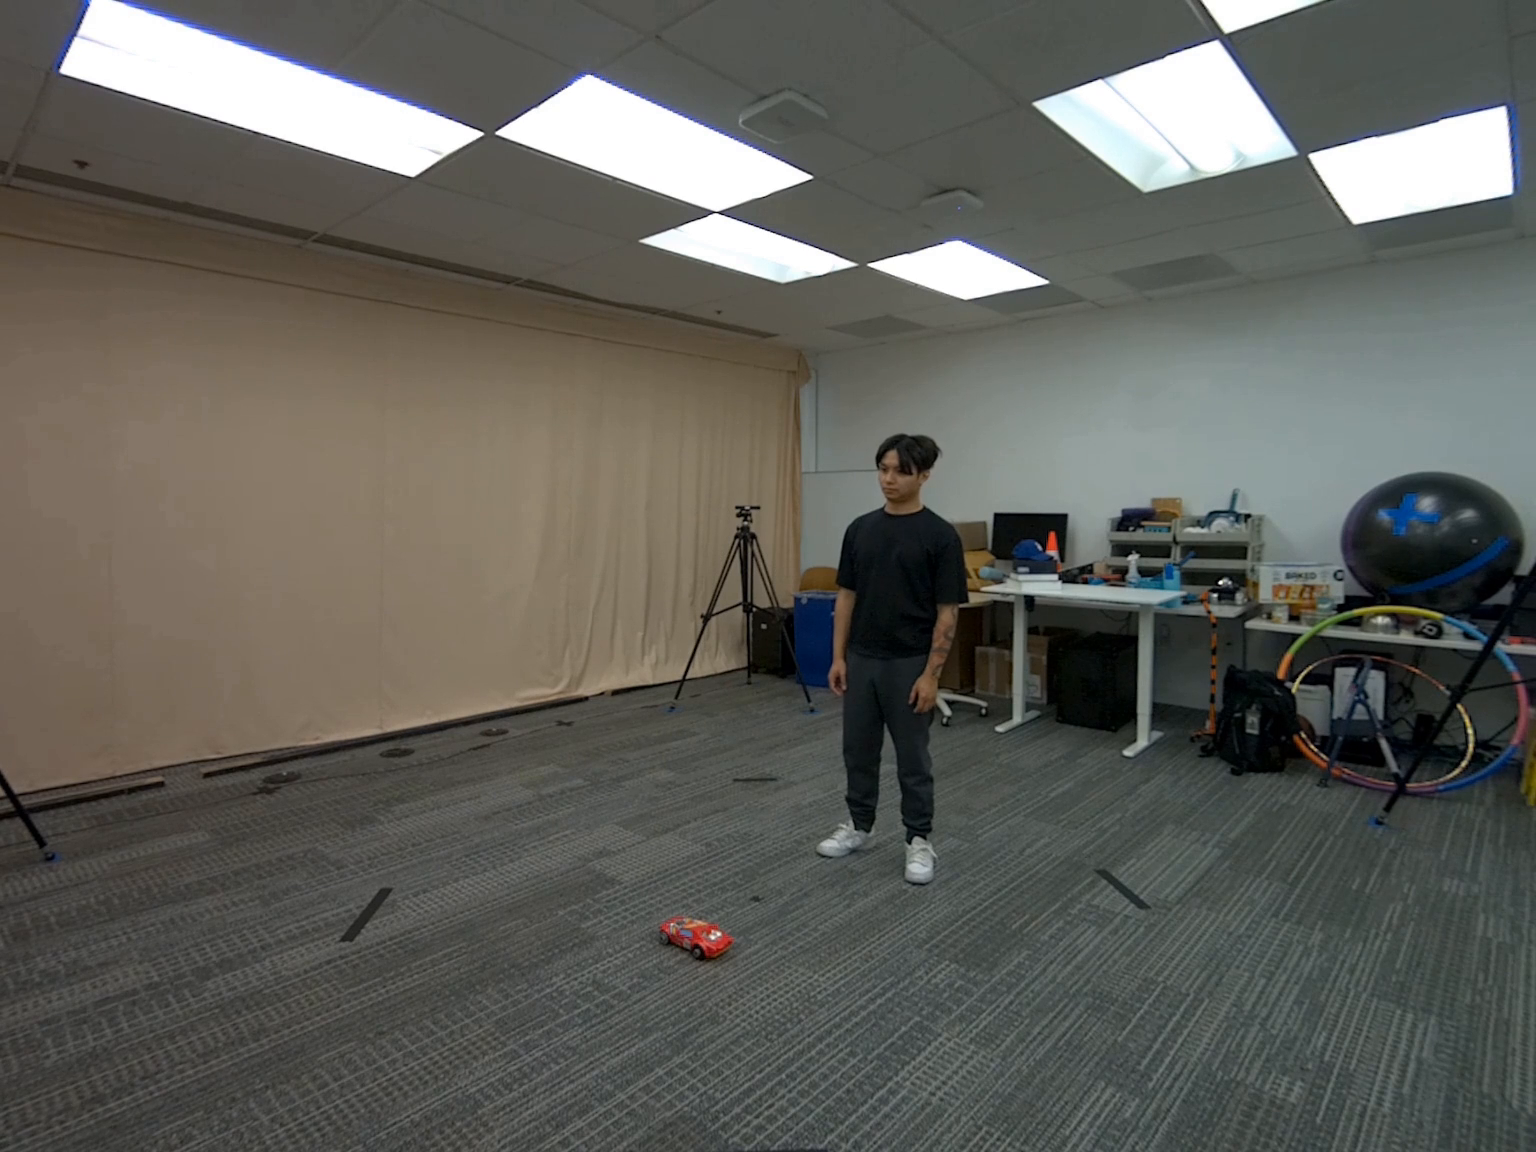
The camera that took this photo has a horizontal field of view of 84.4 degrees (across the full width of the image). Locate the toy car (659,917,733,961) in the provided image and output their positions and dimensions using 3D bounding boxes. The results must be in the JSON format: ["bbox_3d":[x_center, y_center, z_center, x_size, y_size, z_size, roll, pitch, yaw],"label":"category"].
[{"bbox_3d":[-0.220,1.142,2.651,0.261,0.083,0.126,-10,-4,39],"label":"toy car"}]
